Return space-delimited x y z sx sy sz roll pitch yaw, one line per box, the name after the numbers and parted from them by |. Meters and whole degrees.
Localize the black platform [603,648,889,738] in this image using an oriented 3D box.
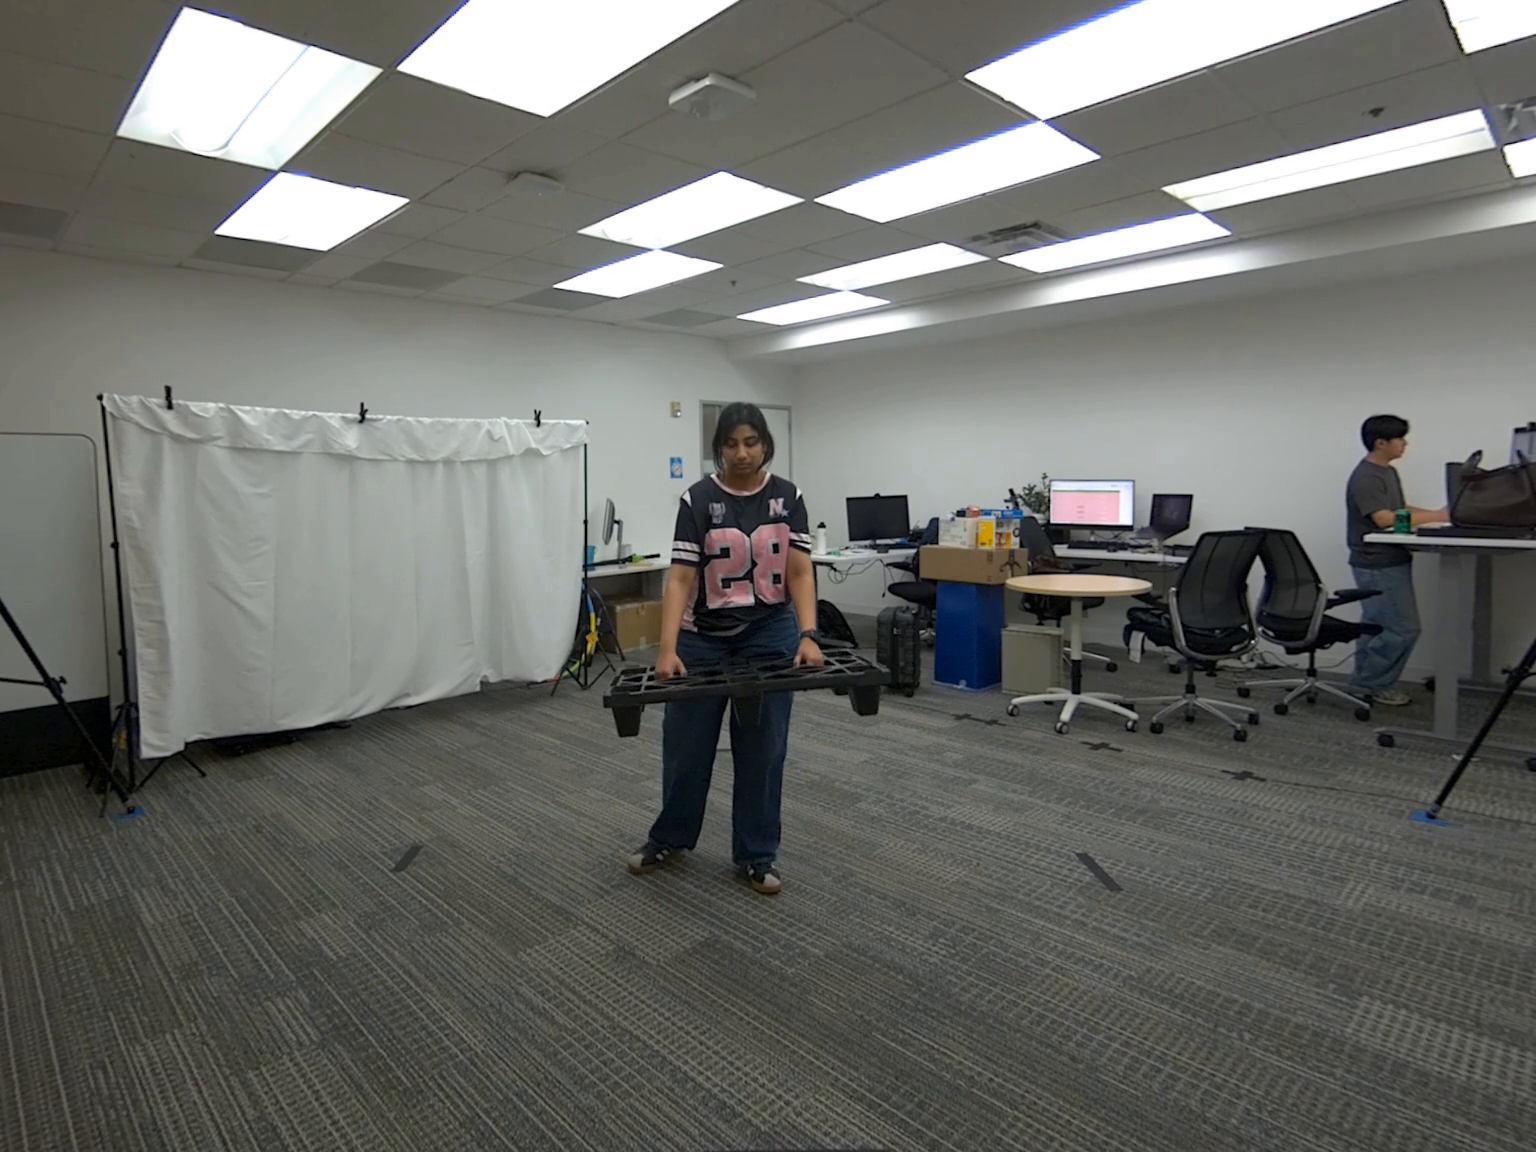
-0.078 0.363 2.631 0.803 0.143 0.607 -4 2 -4 | black platform
